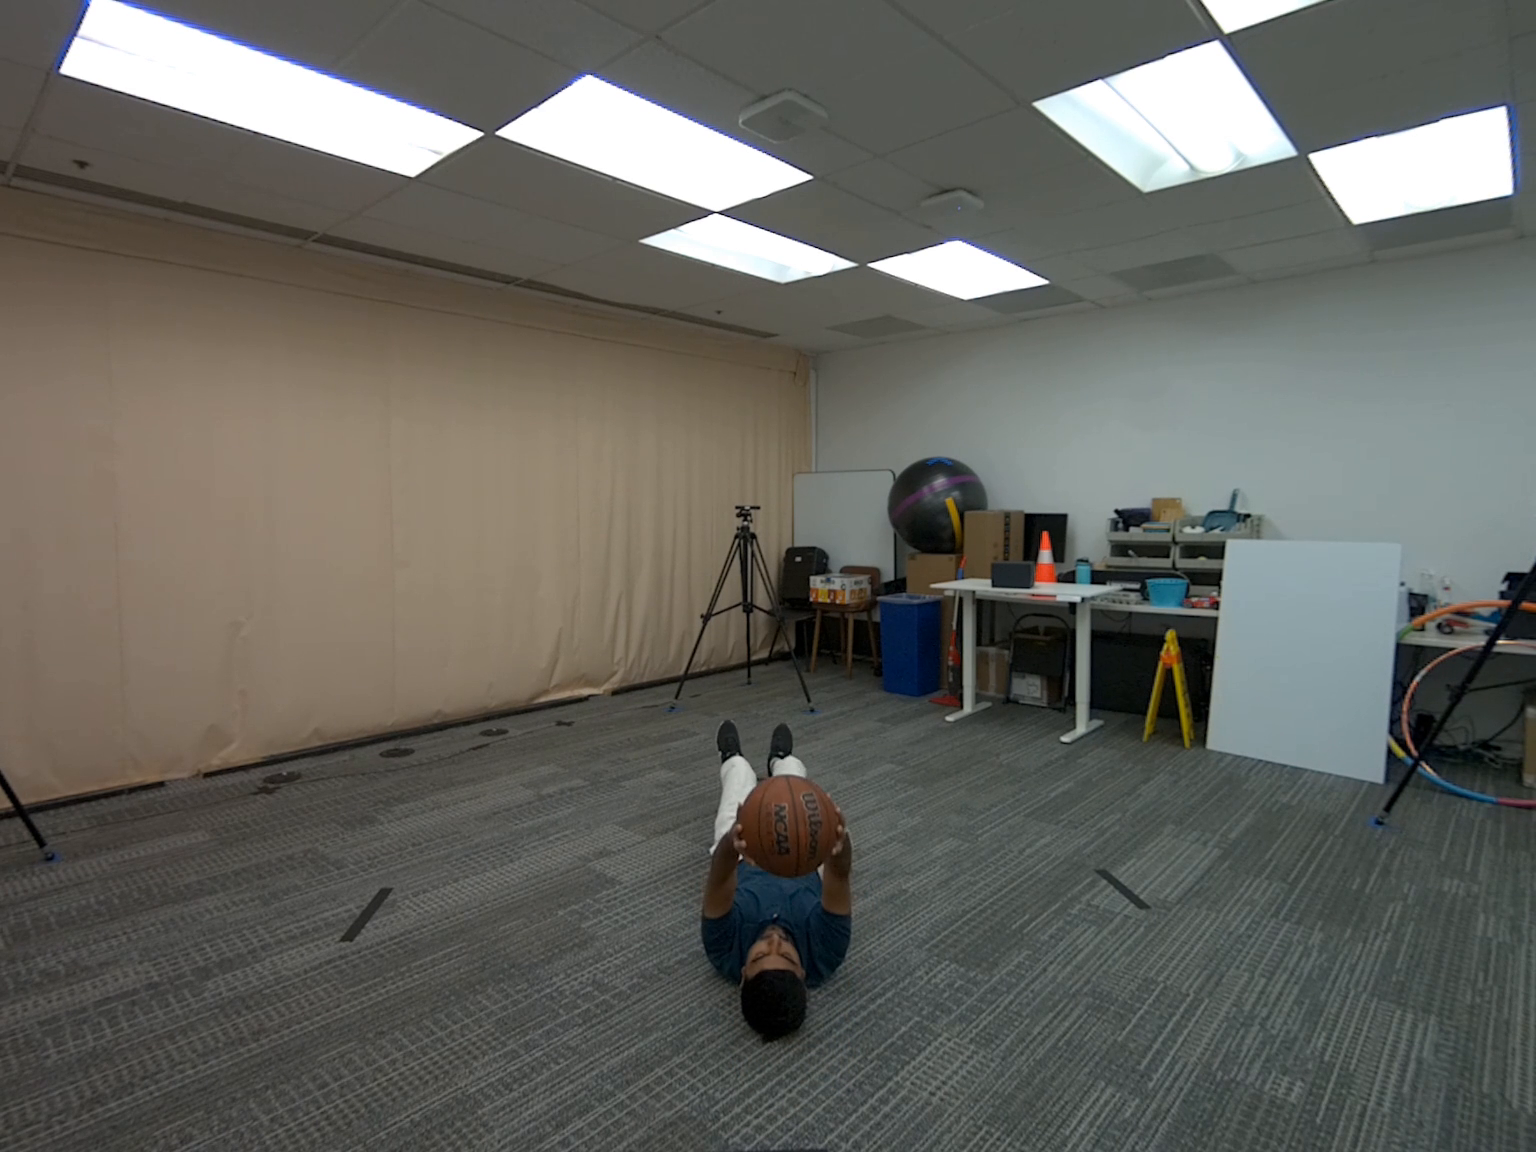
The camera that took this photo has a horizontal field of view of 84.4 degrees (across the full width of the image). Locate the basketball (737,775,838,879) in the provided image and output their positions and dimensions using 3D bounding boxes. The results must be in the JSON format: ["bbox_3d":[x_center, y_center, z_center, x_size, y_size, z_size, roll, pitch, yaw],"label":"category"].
[{"bbox_3d":[0.053,0.611,2.050,0.236,0.235,0.237,0,4,-2],"label":"basketball"}]
